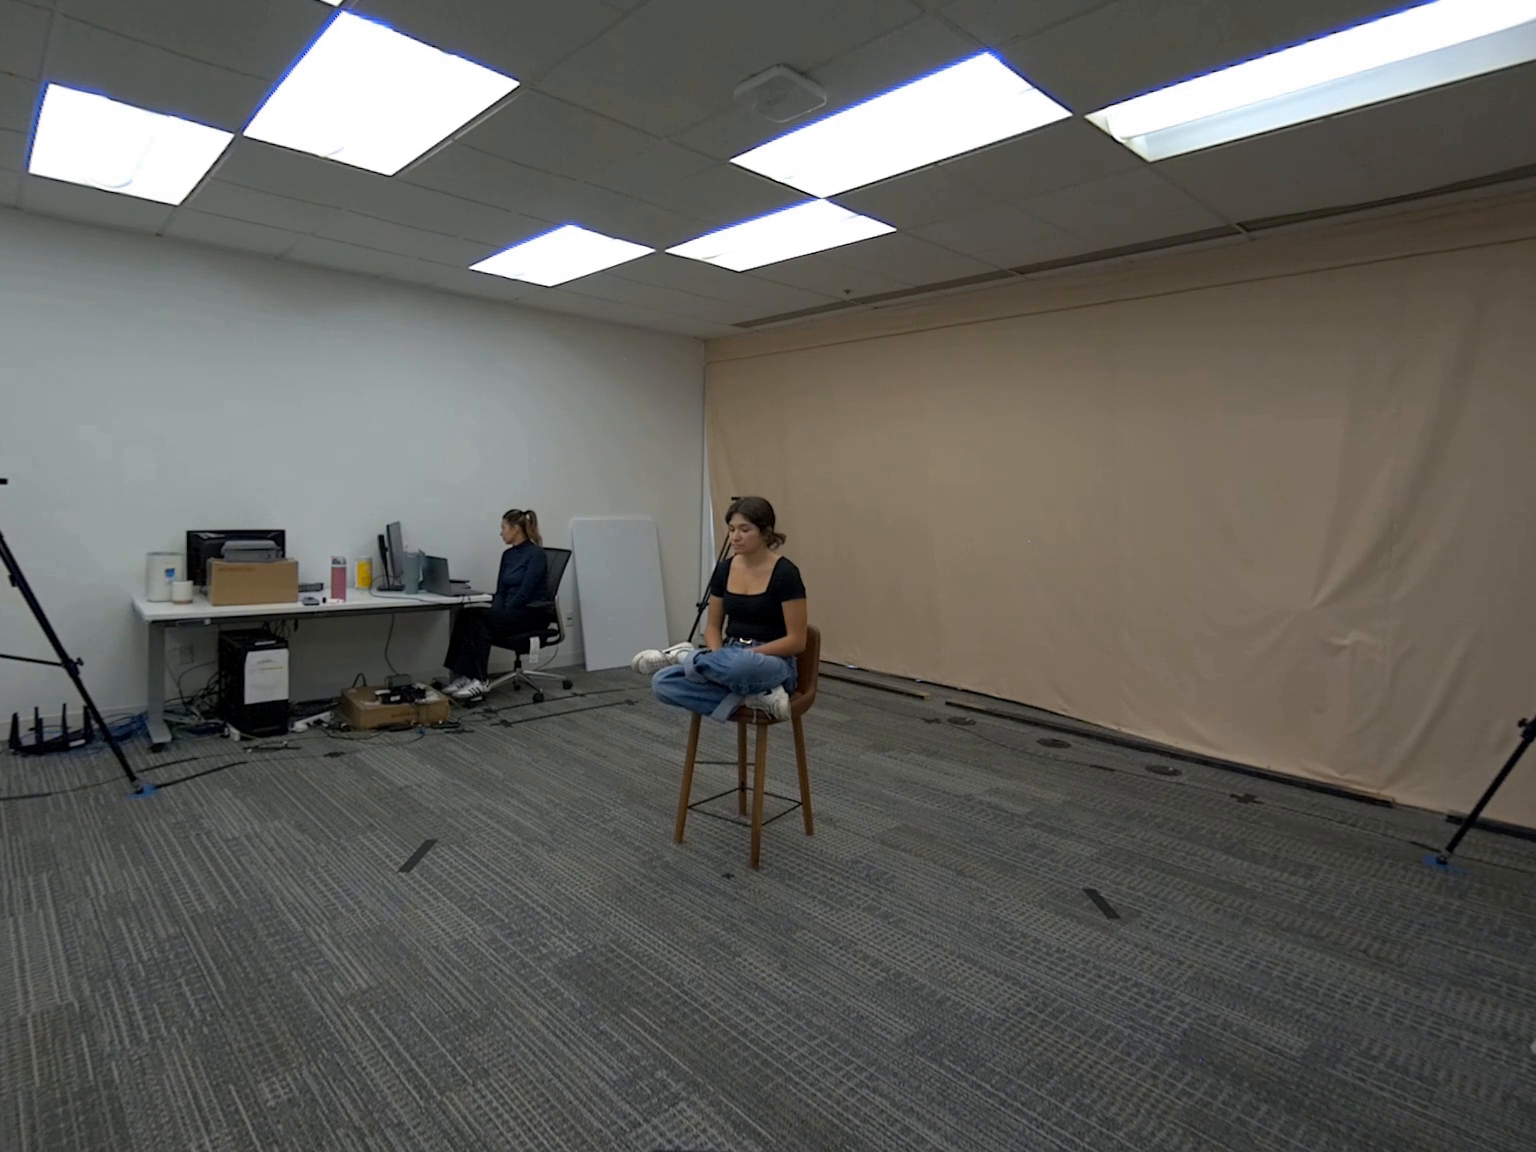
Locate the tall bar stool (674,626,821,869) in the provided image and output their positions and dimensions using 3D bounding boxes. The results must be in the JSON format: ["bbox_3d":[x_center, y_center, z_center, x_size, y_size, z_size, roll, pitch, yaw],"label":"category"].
[{"bbox_3d":[-0.074,0.645,3.438,0.467,0.889,0.457,4,2,36],"label":"tall bar stool"}]
